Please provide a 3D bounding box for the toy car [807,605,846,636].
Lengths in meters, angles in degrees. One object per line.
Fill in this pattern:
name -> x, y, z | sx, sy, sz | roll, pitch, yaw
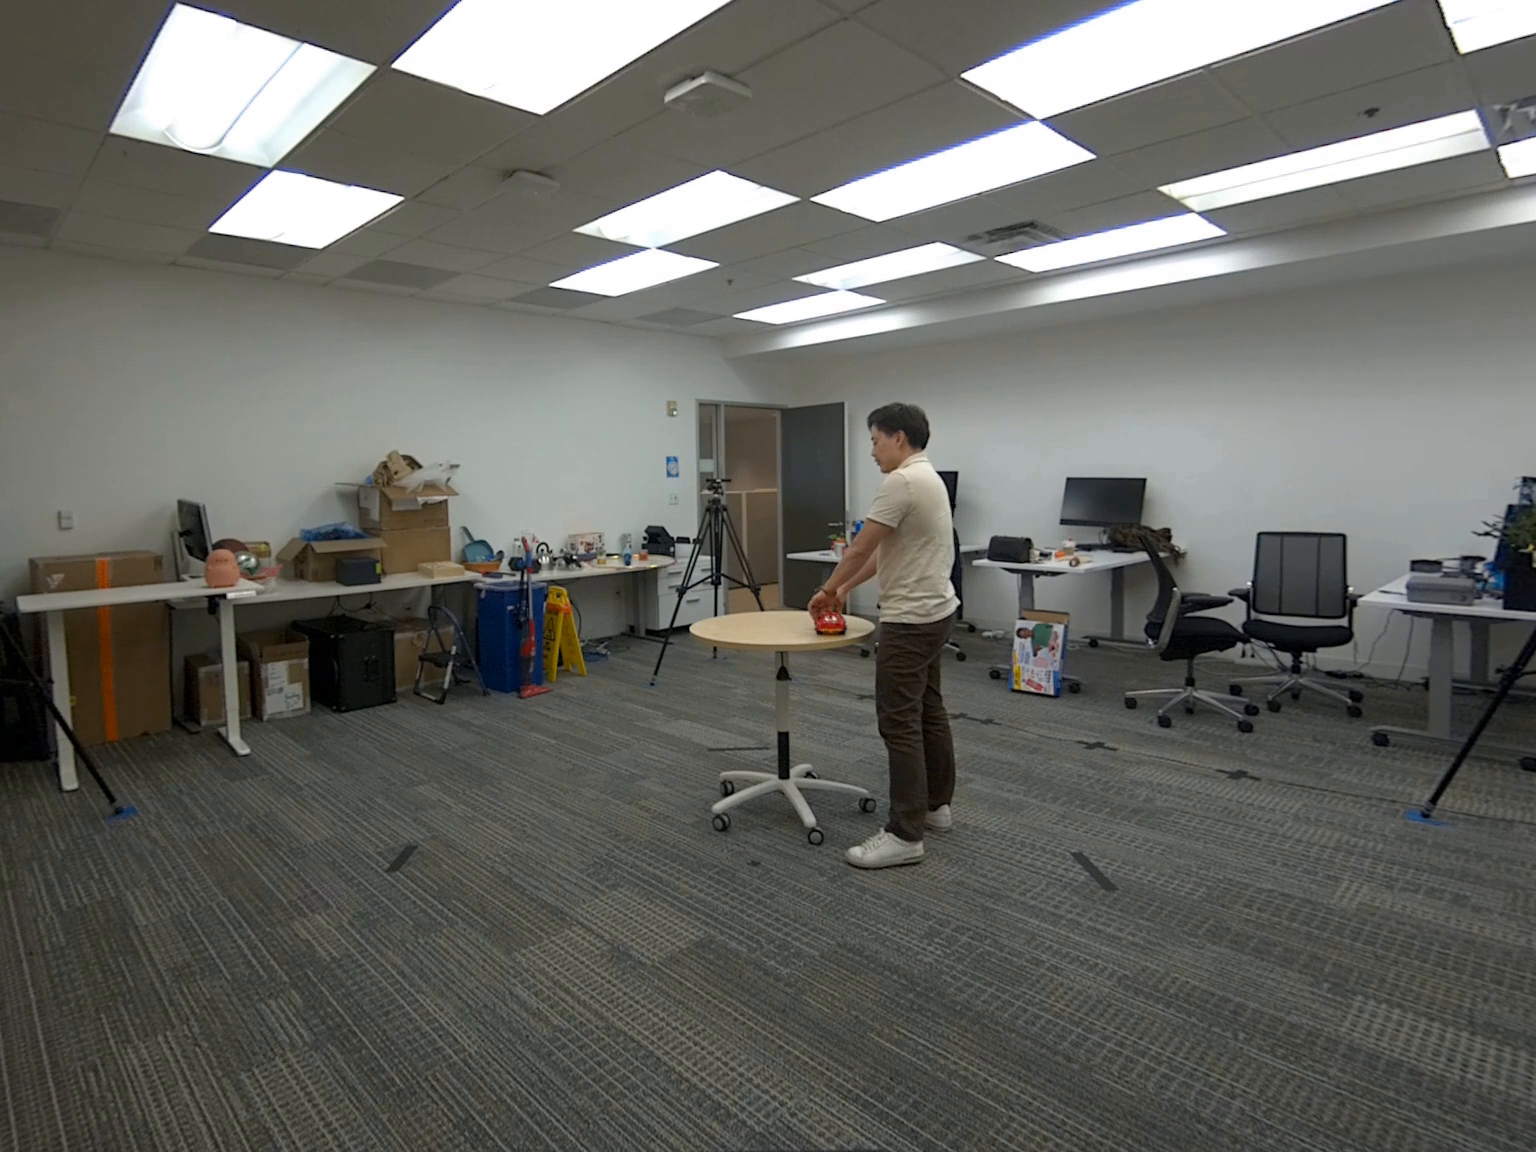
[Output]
toy car -> 0.252, 0.192, 3.399 | 0.130, 0.083, 0.253 | -1, -2, 1
